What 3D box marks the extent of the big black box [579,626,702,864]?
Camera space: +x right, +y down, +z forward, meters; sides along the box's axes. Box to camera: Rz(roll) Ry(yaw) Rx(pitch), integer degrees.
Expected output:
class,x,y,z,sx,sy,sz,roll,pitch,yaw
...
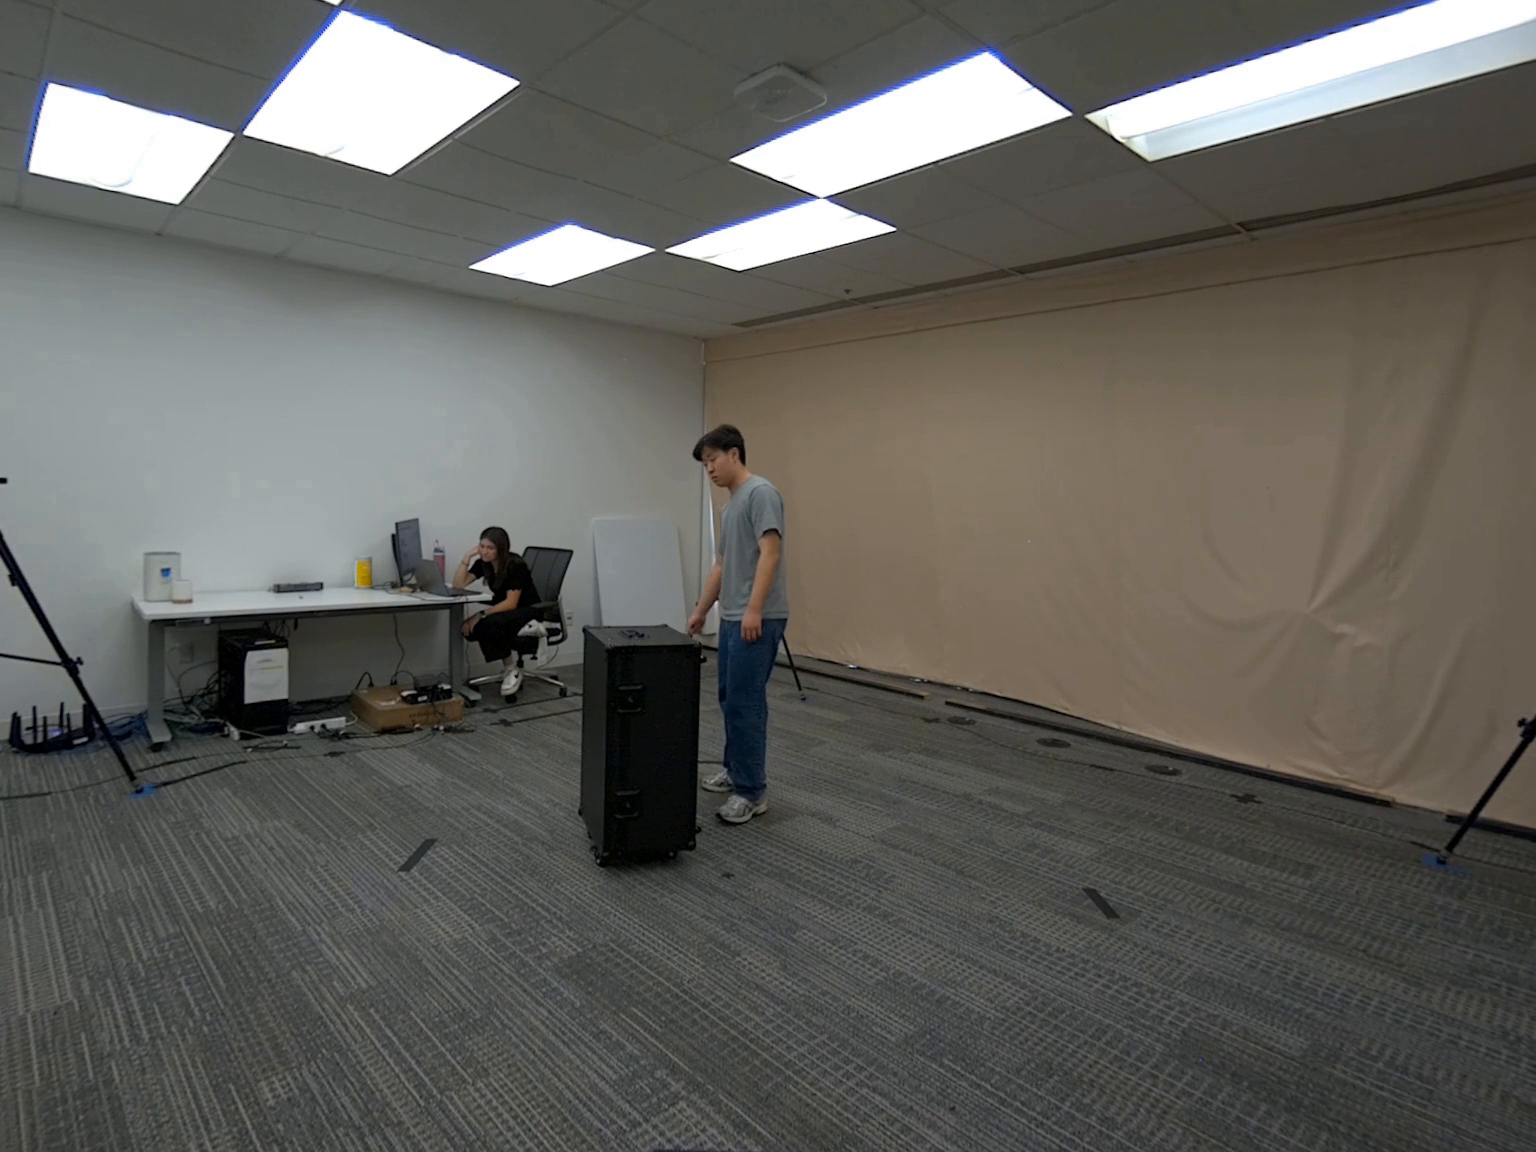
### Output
class,x,y,z,sx,sy,sz,roll,pitch,yaw
big black box,-0.517,0.652,3.312,0.390,0.860,0.531,2,3,-22
